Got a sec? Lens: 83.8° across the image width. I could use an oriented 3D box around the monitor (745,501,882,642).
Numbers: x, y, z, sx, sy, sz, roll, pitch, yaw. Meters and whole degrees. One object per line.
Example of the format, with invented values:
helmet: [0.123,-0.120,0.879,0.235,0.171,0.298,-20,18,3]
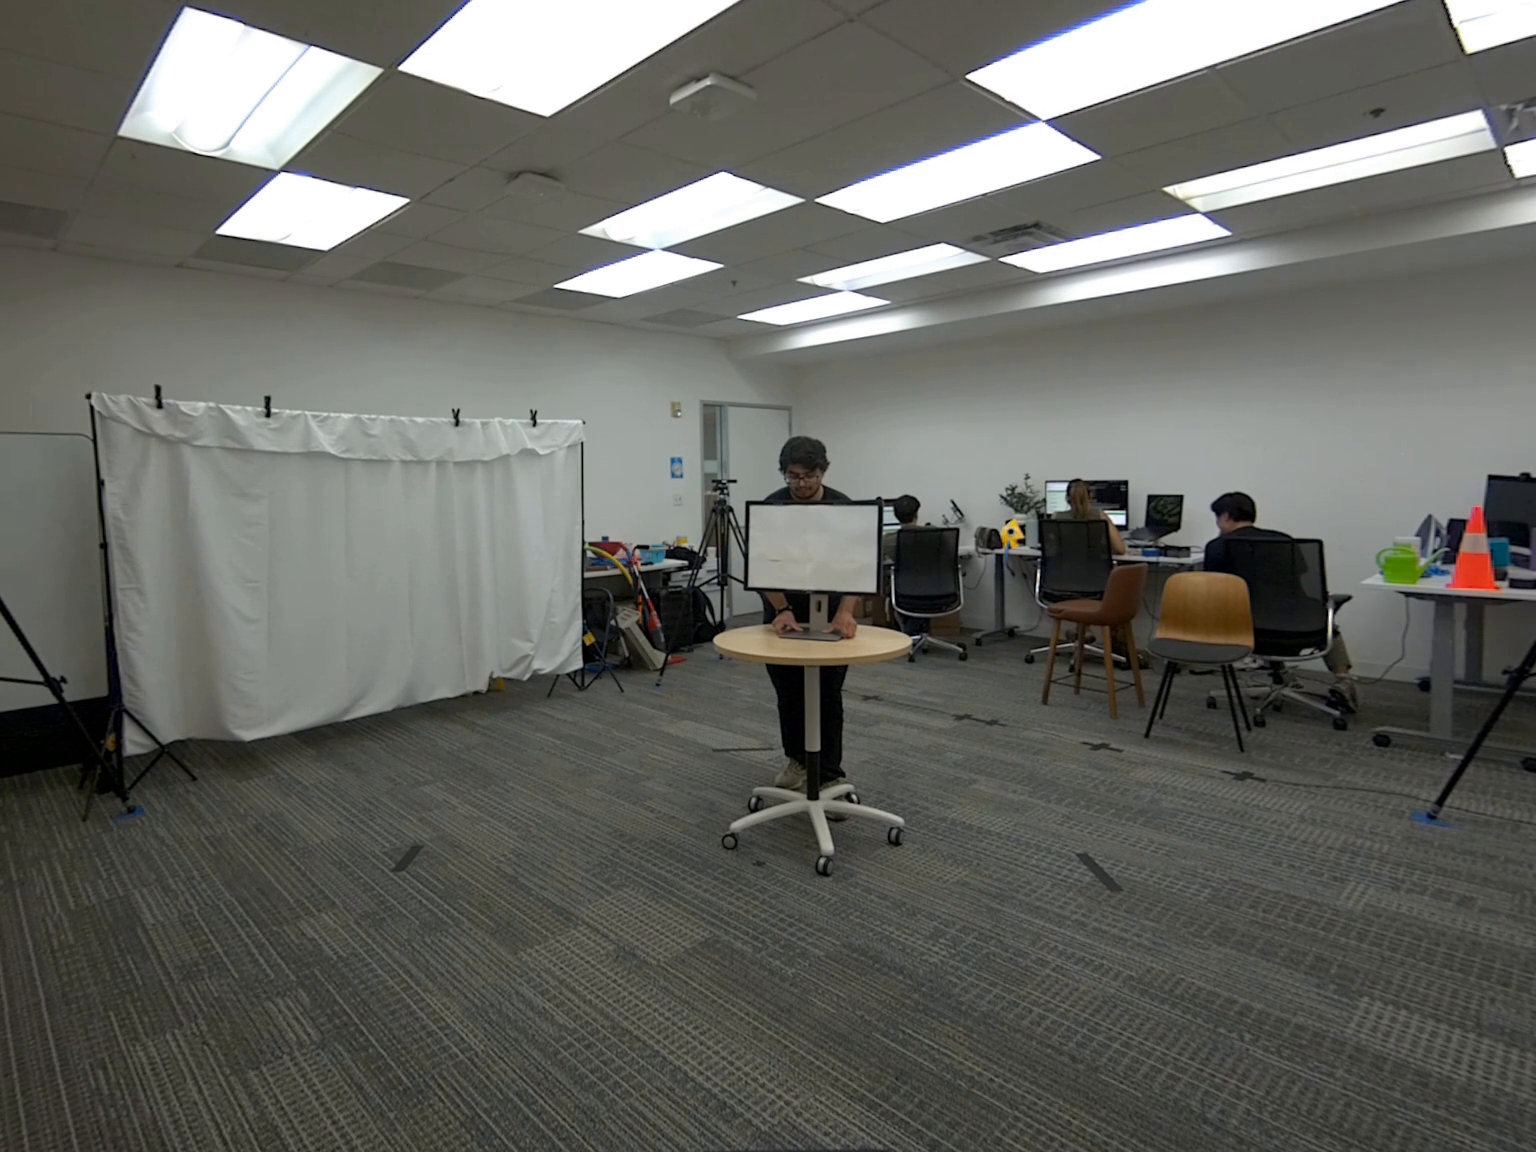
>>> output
monitor: [0.198,-0.029,3.393,0.578,0.552,0.206,1,3,25]
